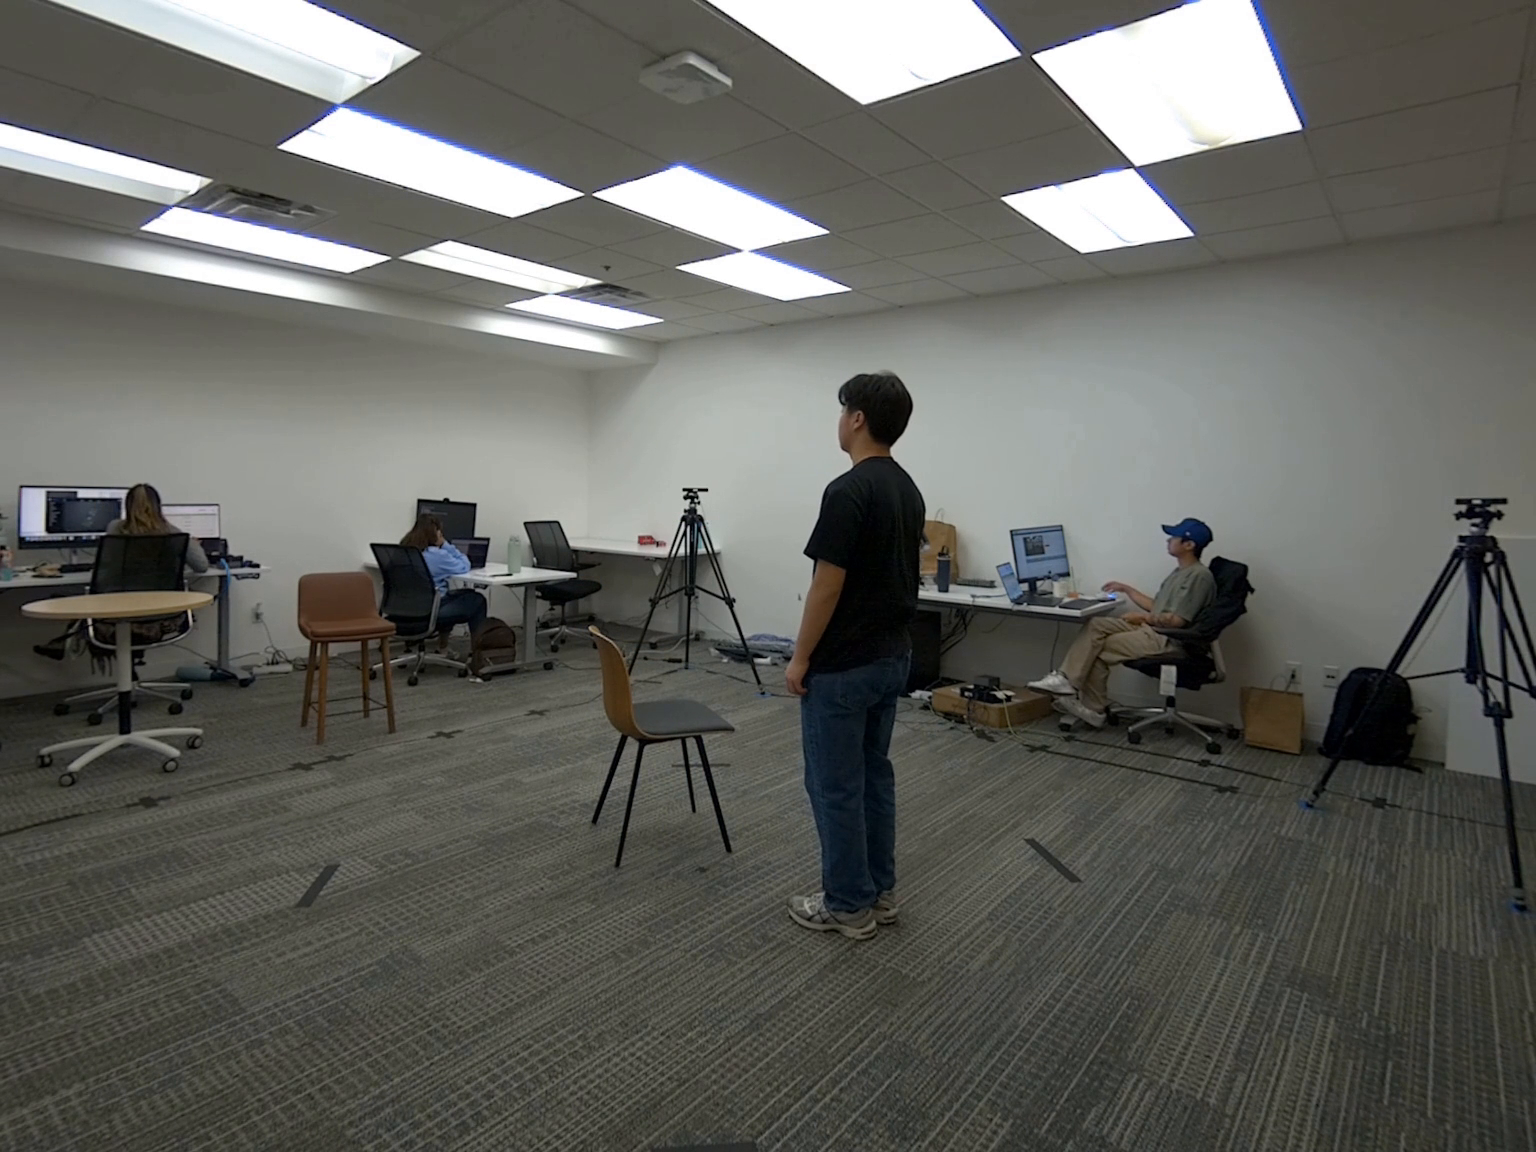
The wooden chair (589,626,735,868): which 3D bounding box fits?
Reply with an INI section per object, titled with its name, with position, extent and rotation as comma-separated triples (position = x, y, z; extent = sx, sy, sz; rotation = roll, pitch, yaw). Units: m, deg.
[wooden chair]
position = -0.432, 0.616, 3.365
extent = 0.513, 0.874, 0.489
rotation = -4, 5, -21
